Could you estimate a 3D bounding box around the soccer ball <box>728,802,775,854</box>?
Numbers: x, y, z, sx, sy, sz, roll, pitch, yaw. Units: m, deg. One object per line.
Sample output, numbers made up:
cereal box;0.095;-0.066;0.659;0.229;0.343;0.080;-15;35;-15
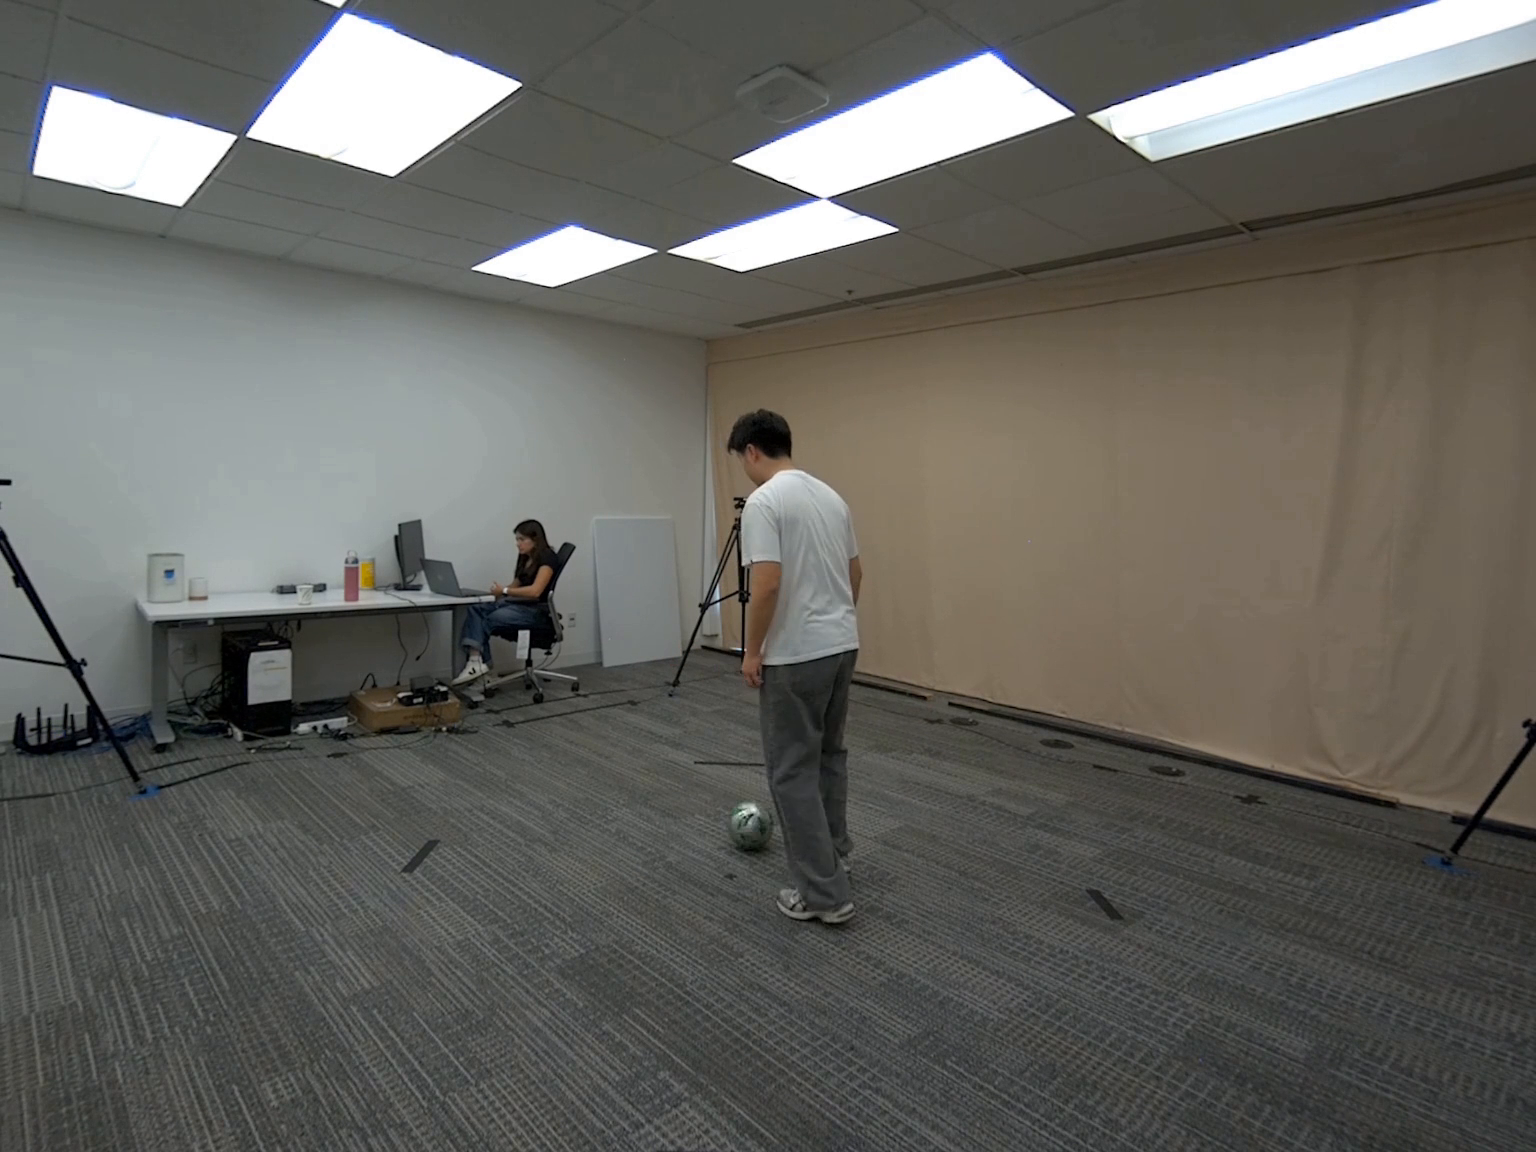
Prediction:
soccer ball;-0.077;0.997;3.356;0.187;0.187;0.188;1;4;-1
